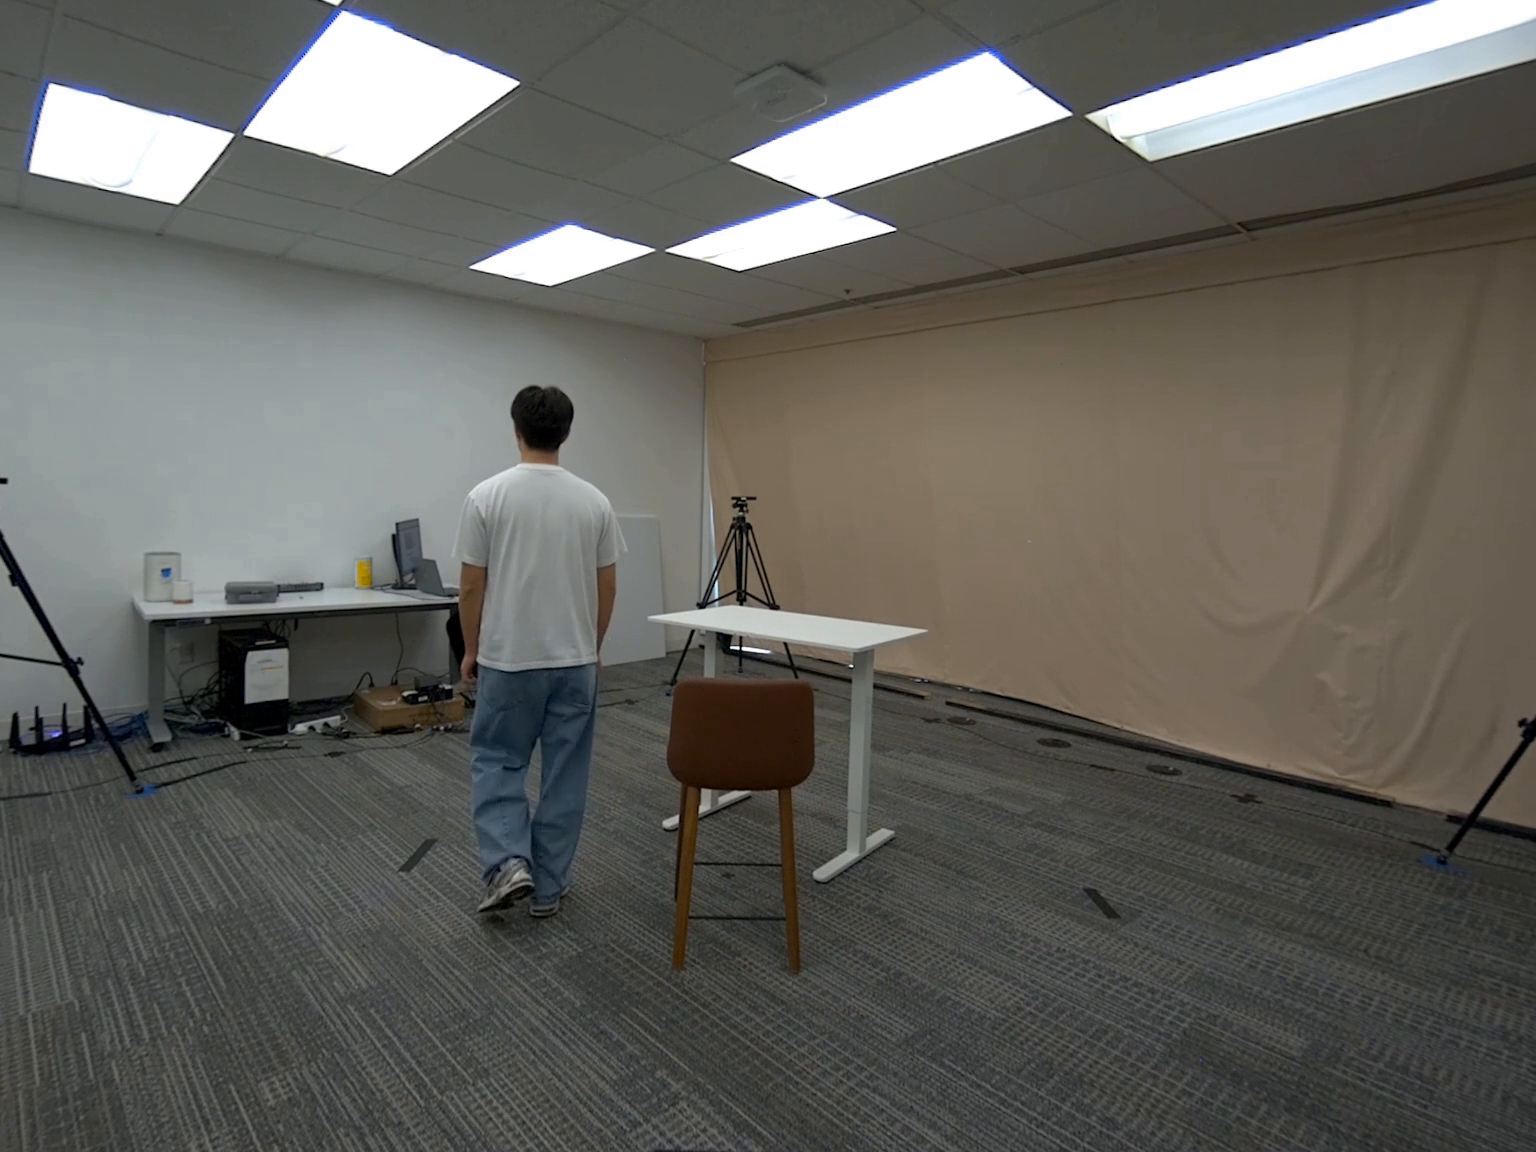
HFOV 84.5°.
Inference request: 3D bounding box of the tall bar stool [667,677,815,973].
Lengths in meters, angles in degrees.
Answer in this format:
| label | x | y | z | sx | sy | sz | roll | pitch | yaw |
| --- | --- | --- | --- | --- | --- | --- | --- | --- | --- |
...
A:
| label | x | y | z | sx | sy | sz | roll | pitch | yaw |
| --- | --- | --- | --- | --- | --- | --- | --- | --- | --- |
| tall bar stool | -0.106 | 0.714 | 2.665 | 0.455 | 0.886 | 0.471 | 0 | 5 | -4 |
